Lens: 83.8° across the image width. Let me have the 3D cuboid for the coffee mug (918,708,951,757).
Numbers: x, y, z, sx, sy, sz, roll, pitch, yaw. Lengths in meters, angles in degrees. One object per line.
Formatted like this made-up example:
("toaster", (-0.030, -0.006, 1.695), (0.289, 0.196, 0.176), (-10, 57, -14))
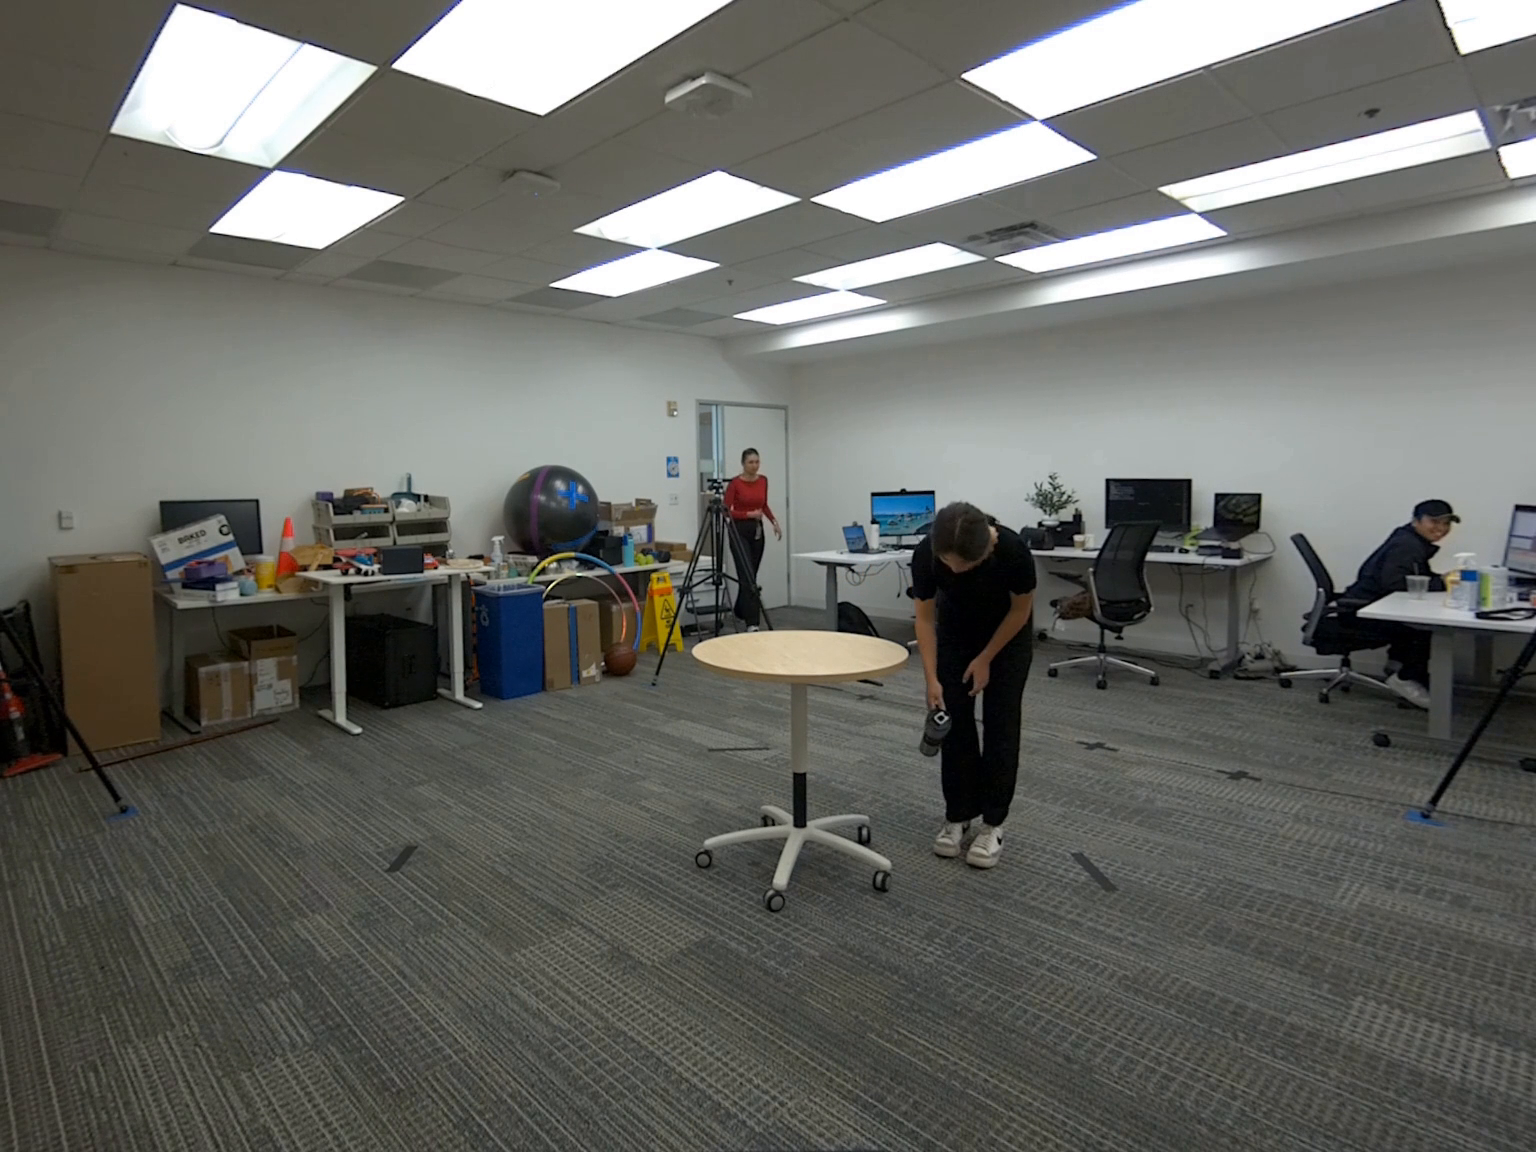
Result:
("coffee mug", (0.608, 0.570, 3.072), (0.121, 0.197, 0.091), (-15, 46, -12))
